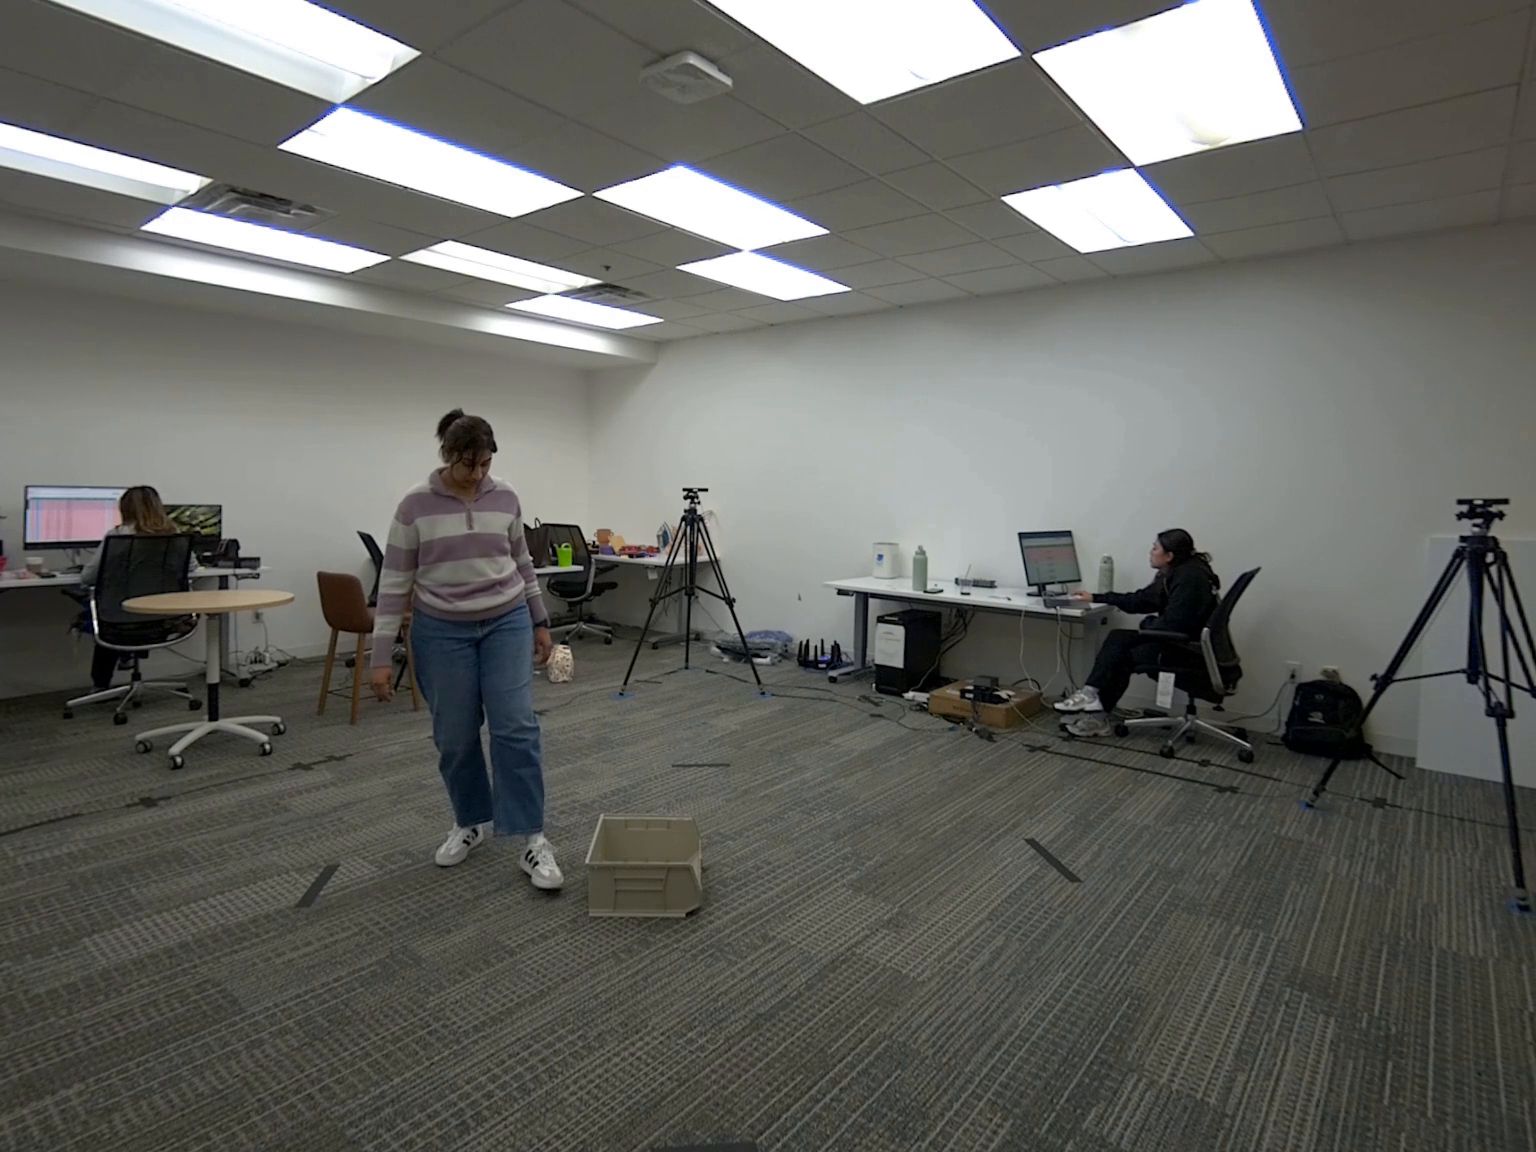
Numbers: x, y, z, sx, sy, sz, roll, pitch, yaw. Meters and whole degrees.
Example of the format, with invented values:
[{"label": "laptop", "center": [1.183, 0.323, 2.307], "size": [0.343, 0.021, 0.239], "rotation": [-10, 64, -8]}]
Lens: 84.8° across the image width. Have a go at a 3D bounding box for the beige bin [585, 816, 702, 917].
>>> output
[{"label": "beige bin", "center": [-0.423, 0.998, 2.946], "size": [0.376, 0.188, 0.425], "rotation": [-1, 5, -3]}]
